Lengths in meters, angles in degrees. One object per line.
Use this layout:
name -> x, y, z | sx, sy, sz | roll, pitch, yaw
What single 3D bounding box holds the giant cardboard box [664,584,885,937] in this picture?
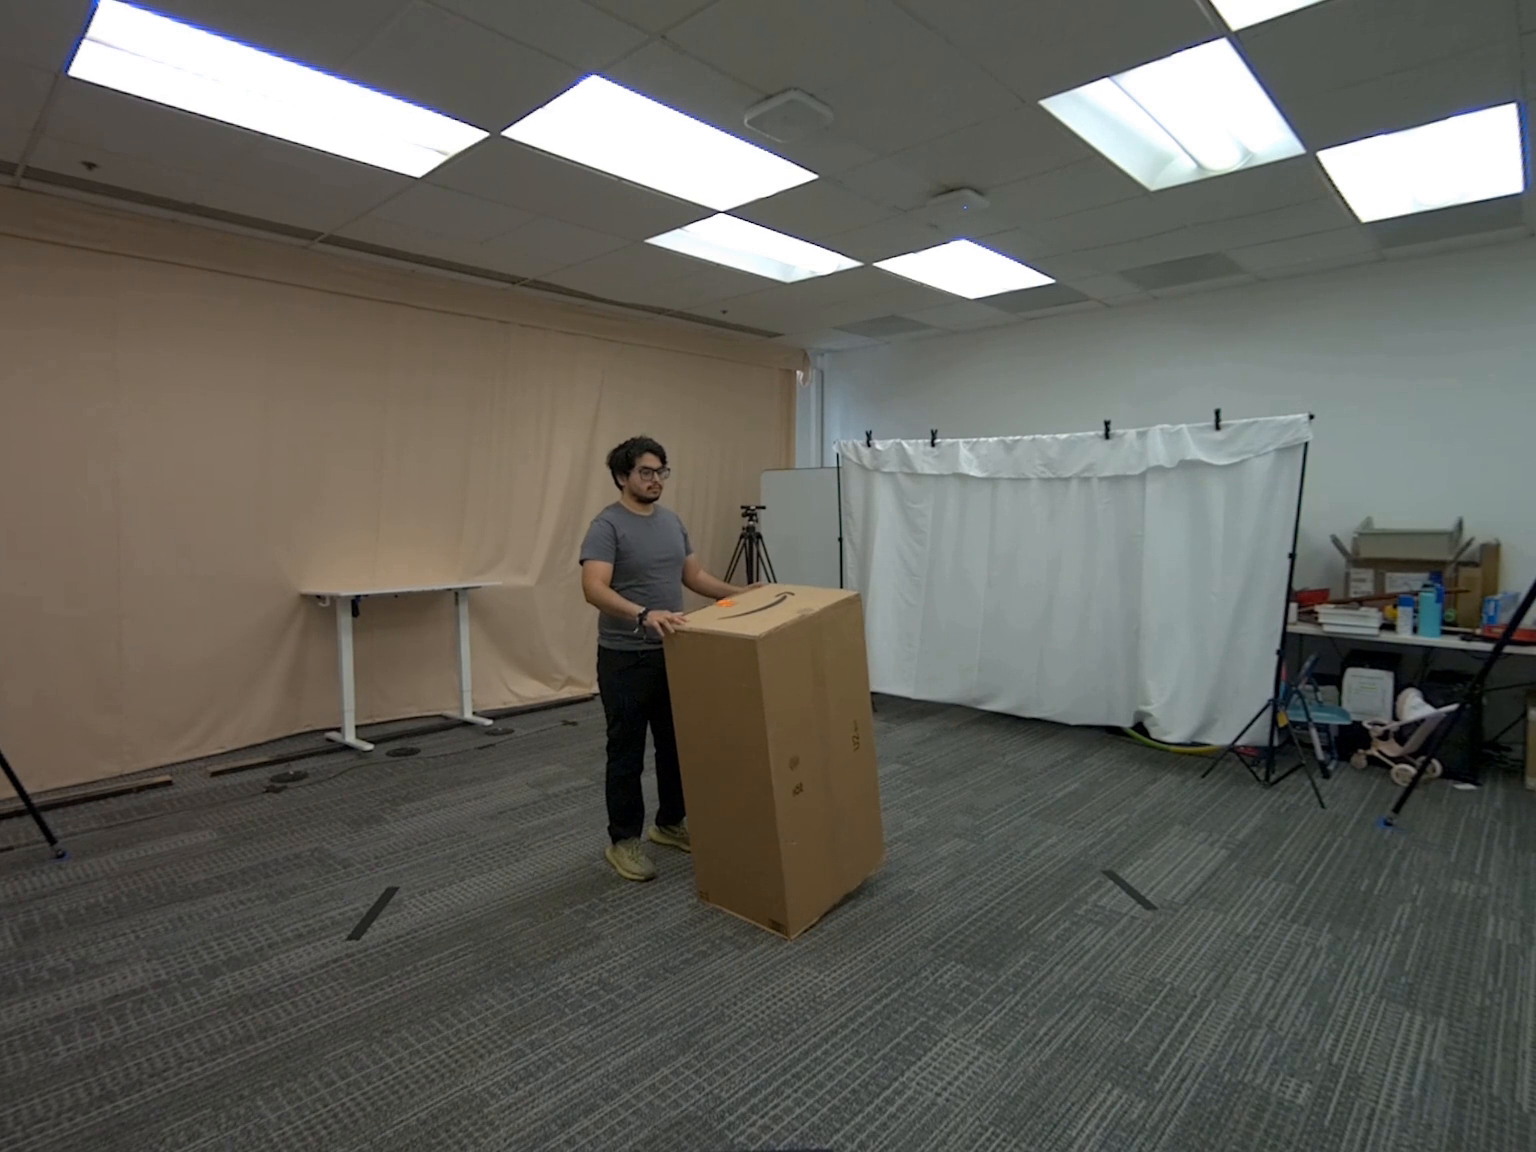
giant cardboard box -> 0.040, 0.602, 2.945 | 0.440, 1.018, 0.563 | 3, 14, 41
